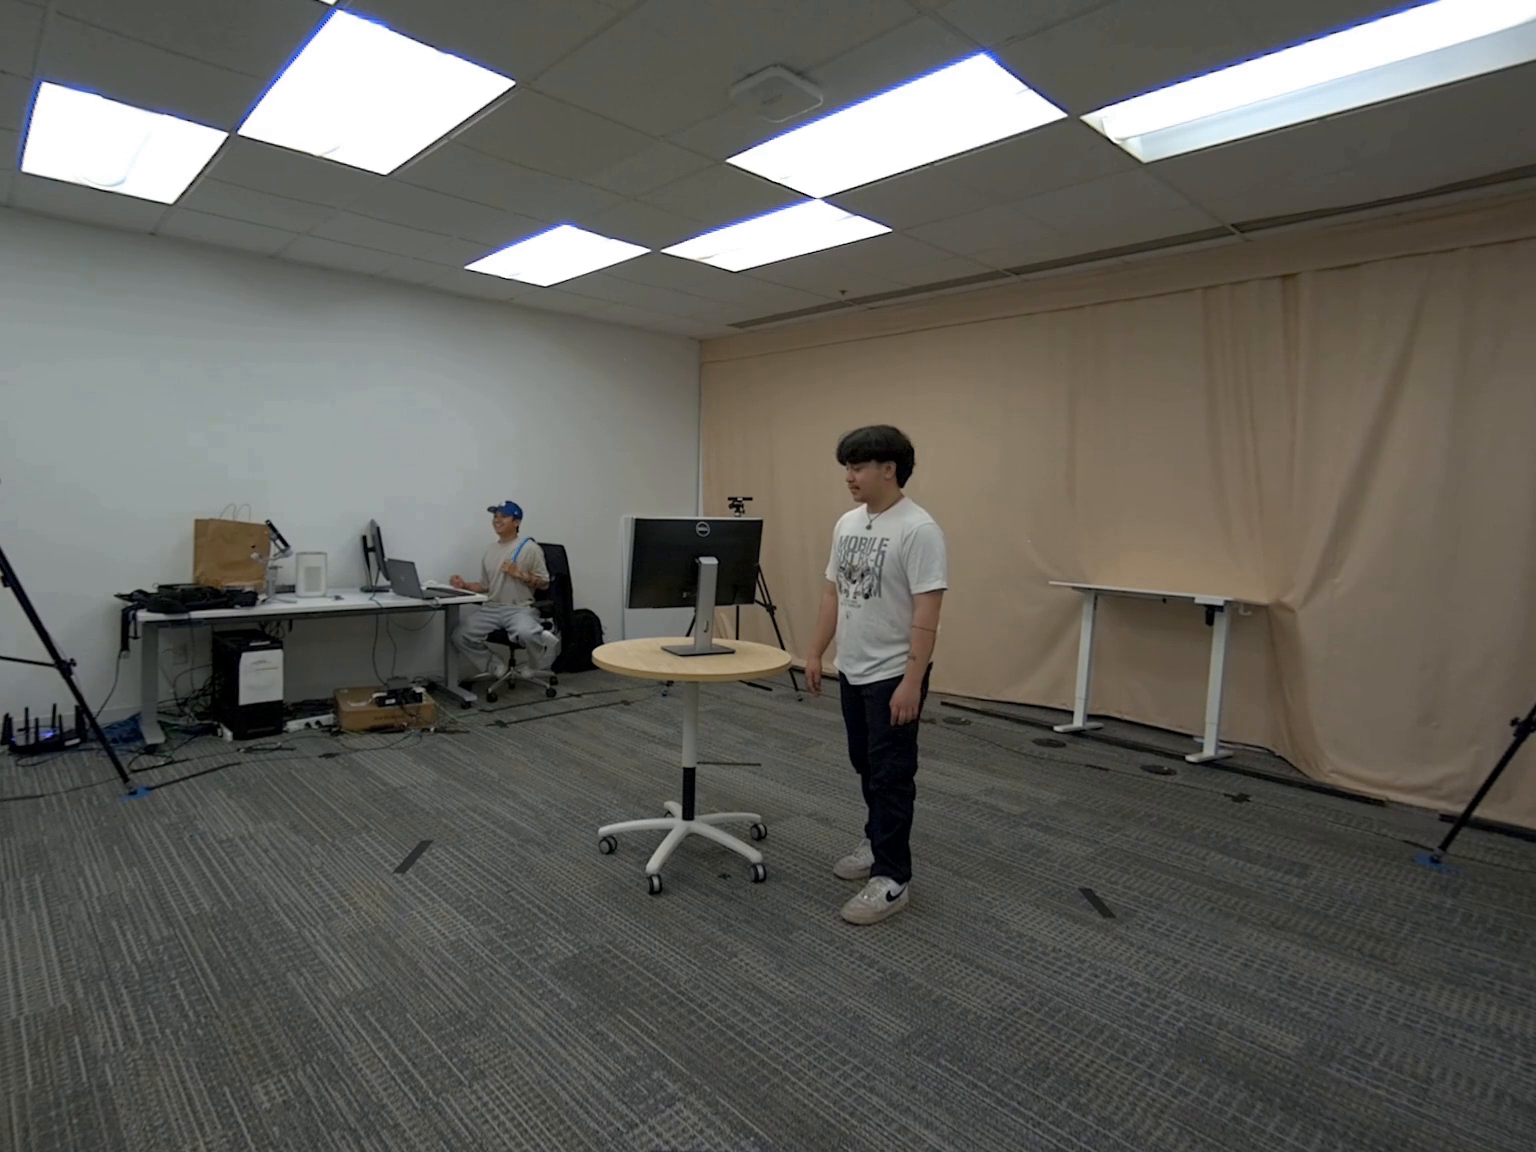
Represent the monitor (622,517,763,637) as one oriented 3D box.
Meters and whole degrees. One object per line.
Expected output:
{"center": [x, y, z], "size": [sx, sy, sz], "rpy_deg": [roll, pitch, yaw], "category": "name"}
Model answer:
{"center": [-0.260, 0.045, 3.273], "size": [0.554, 0.551, 0.215], "rpy_deg": [0, 8, -29], "category": "monitor"}
